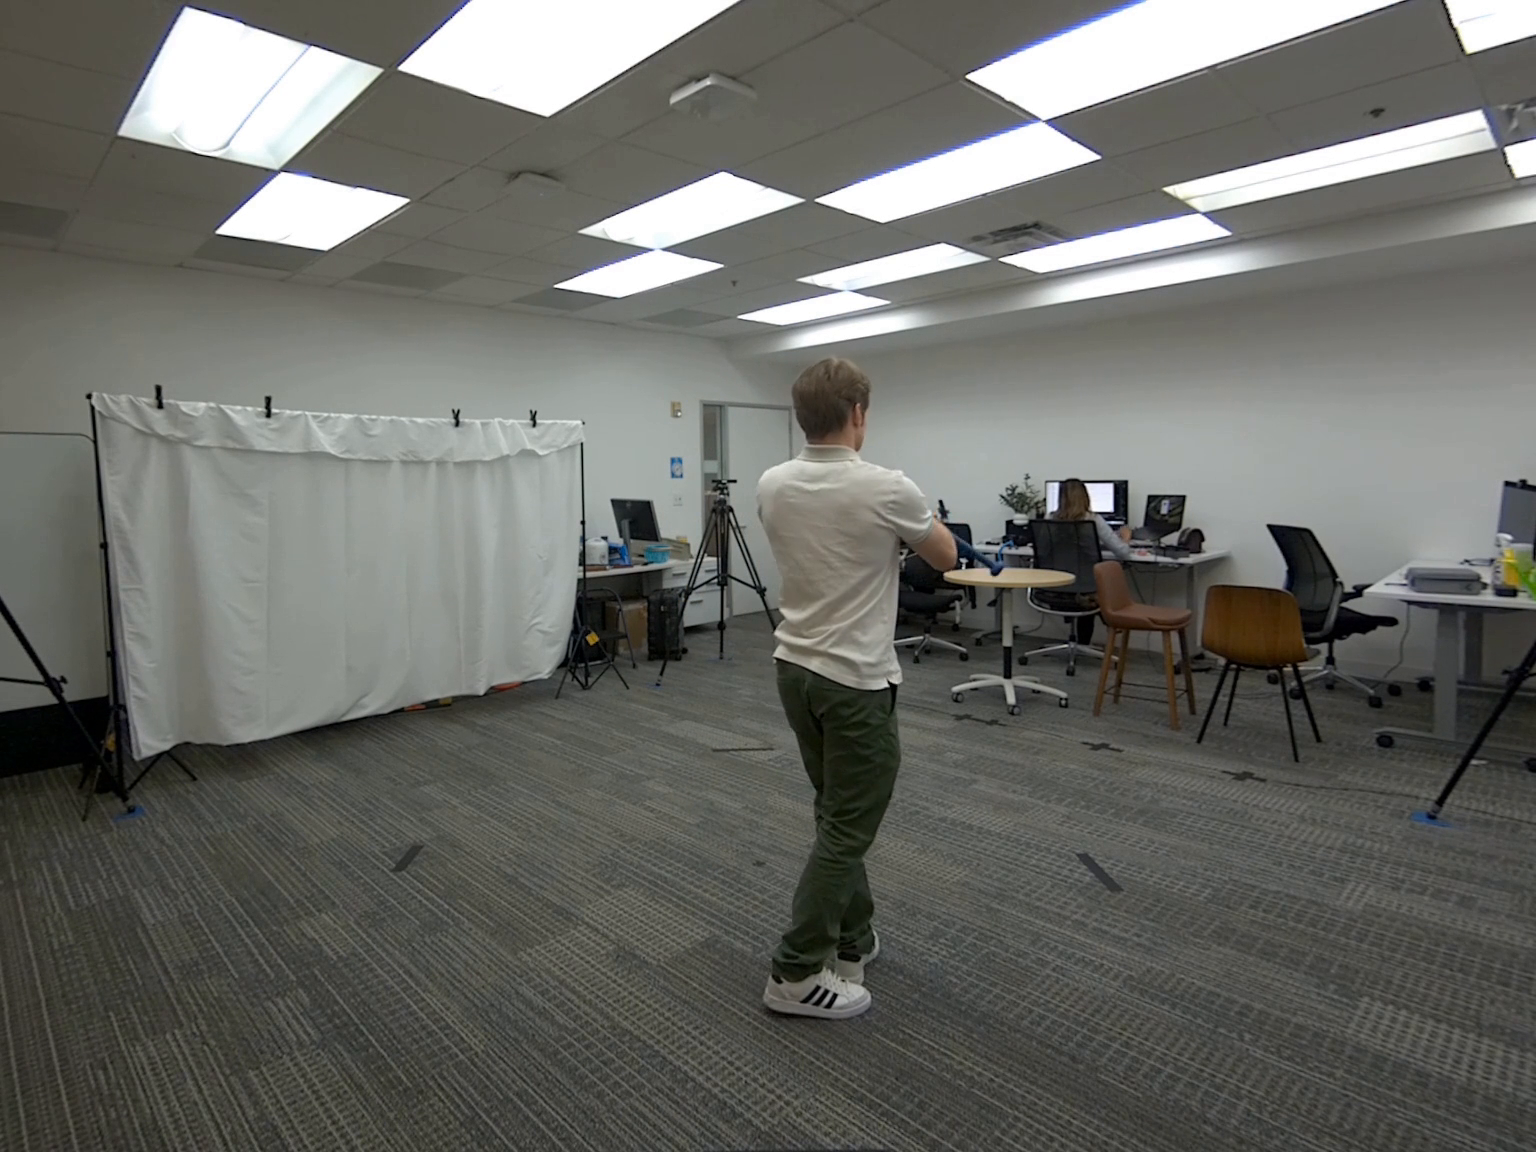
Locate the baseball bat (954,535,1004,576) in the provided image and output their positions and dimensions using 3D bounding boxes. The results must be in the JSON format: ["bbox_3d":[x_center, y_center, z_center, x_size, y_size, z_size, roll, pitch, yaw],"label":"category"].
[{"bbox_3d":[0.492,-0.166,2.632,0.548,0.089,0.088,35,9,6],"label":"baseball bat"}]
